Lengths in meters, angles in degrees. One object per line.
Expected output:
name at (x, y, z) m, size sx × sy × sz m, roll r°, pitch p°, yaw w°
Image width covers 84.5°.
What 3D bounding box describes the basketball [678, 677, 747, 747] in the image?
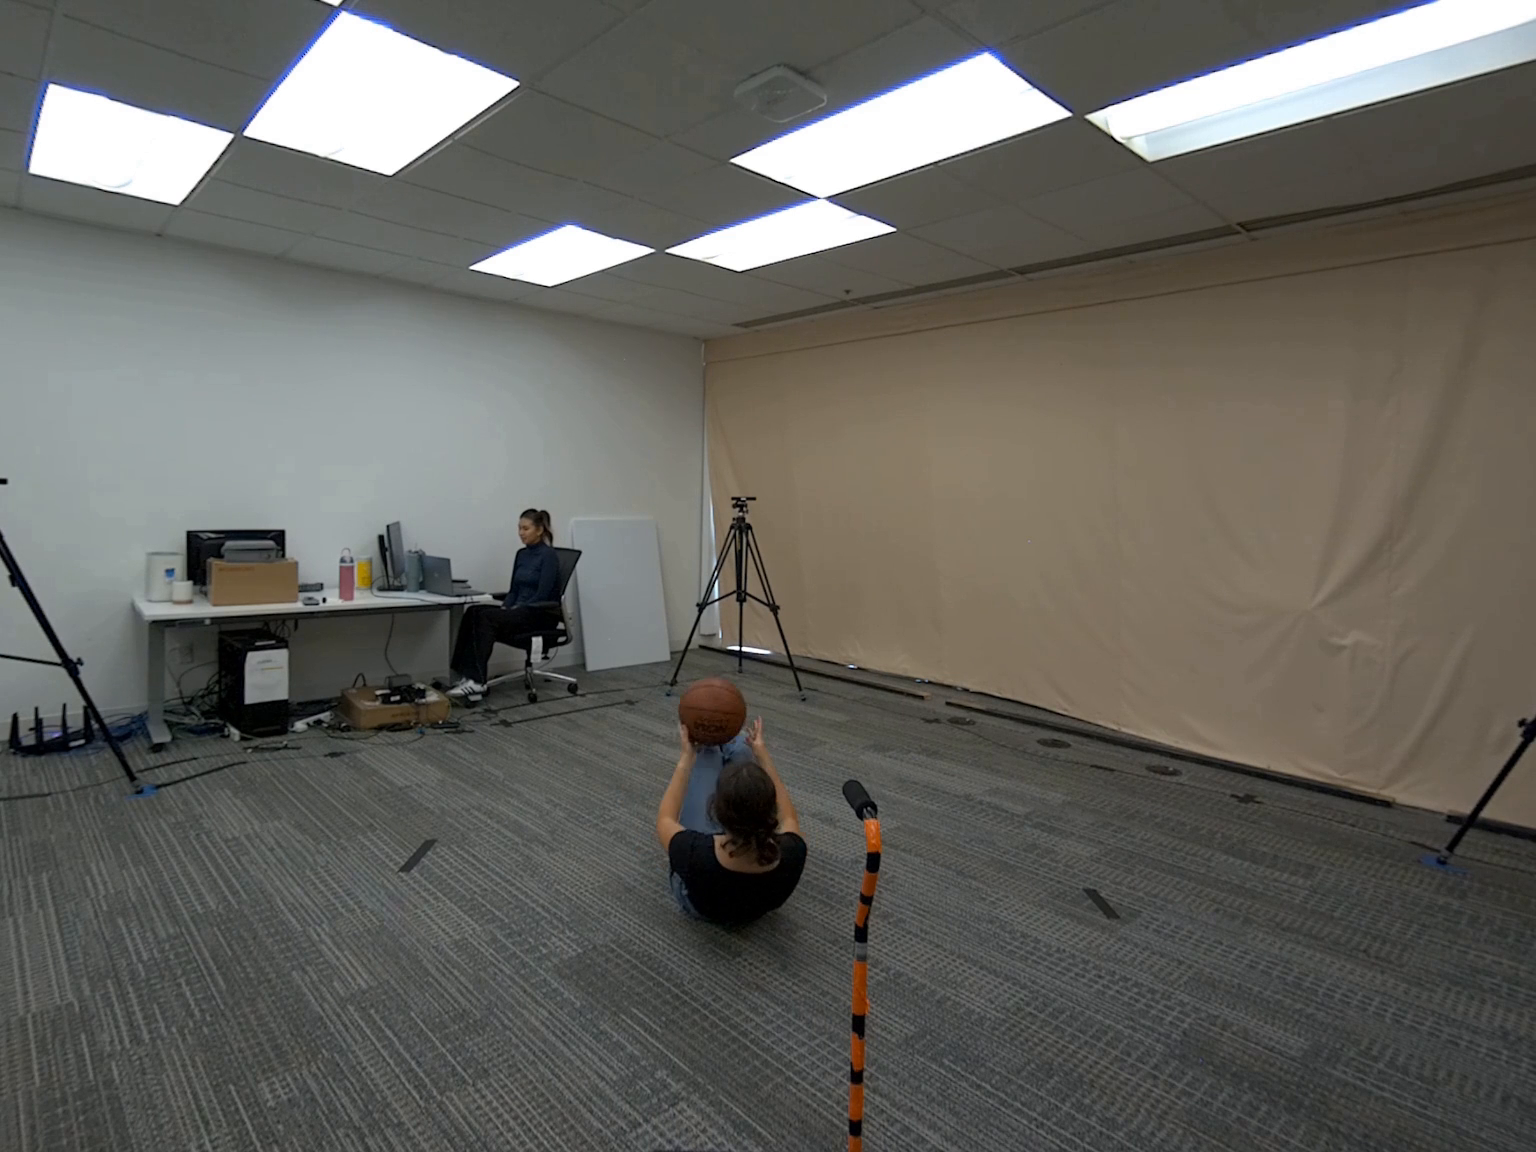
basketball at (-0.204, 0.485, 2.951) m, size 0.236 × 0.235 × 0.237 m, roll 1°, pitch 4°, yaw -1°
